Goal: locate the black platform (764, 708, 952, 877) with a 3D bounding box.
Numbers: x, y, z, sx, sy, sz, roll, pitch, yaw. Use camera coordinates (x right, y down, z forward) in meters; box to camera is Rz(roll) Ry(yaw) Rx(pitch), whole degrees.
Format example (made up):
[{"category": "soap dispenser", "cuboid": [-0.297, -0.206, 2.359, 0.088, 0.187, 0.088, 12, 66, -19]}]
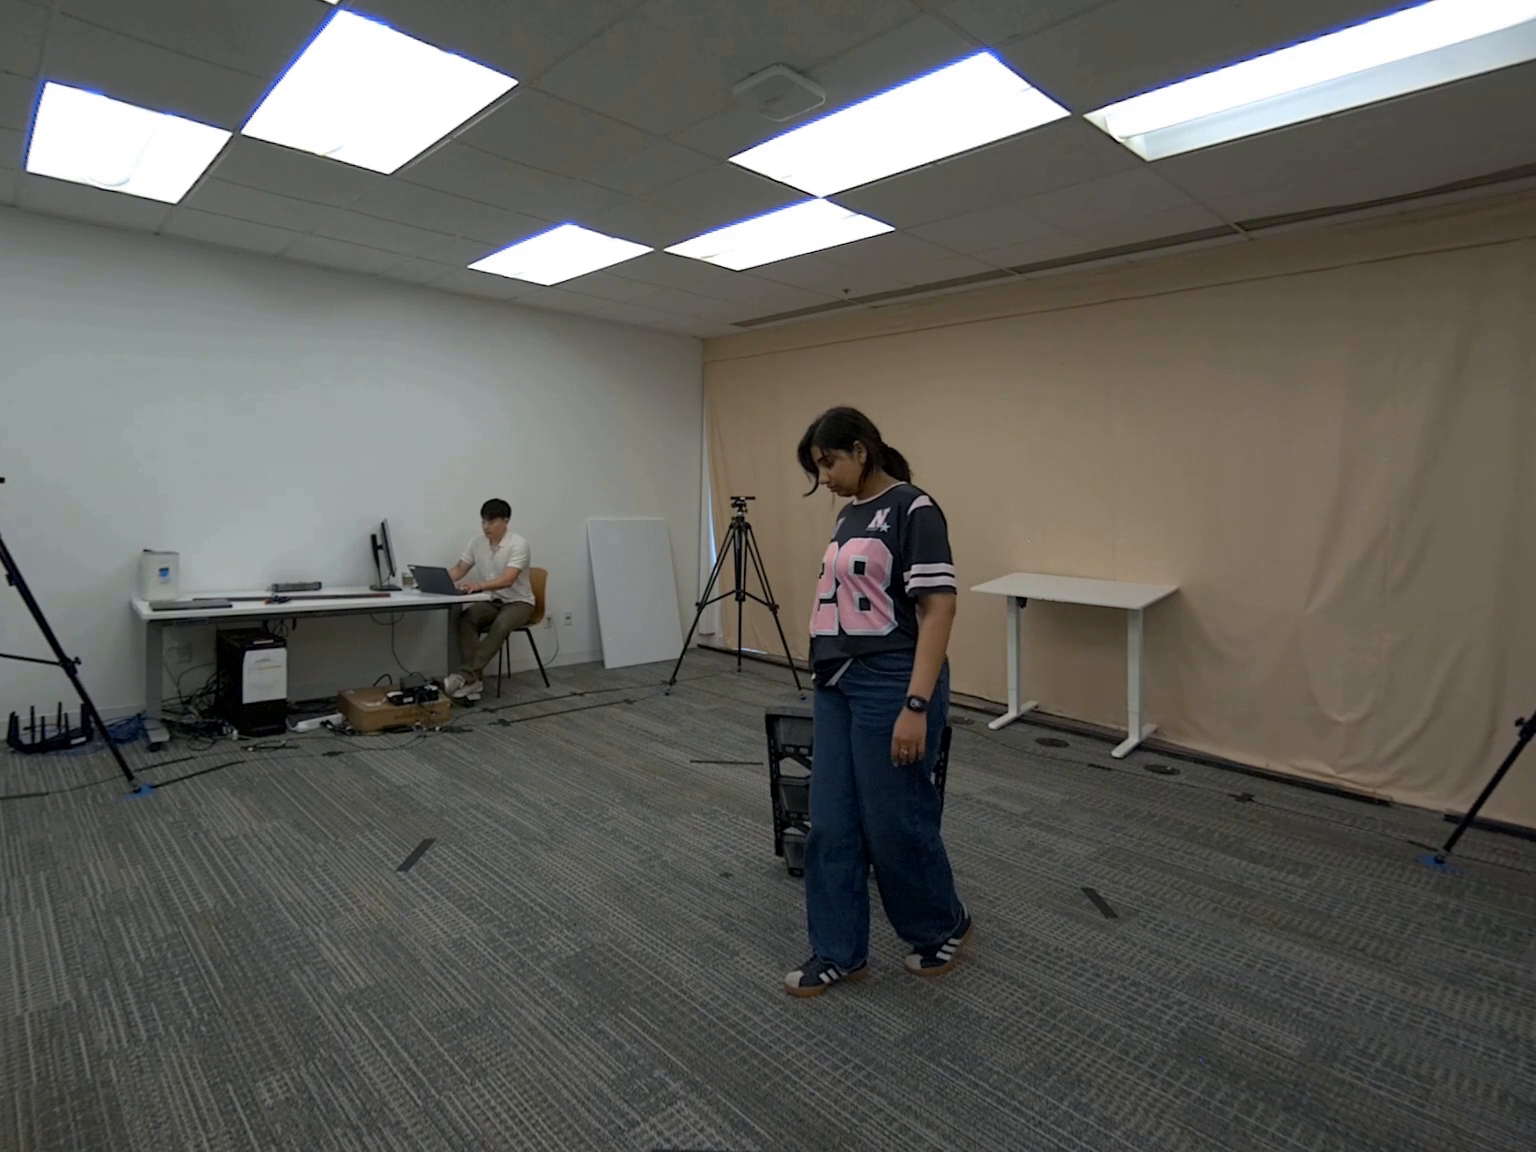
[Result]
[{"category": "black platform", "cuboid": [0.303, 0.796, 2.907, 0.610, 0.787, 0.145, 3, 37, 9]}]
